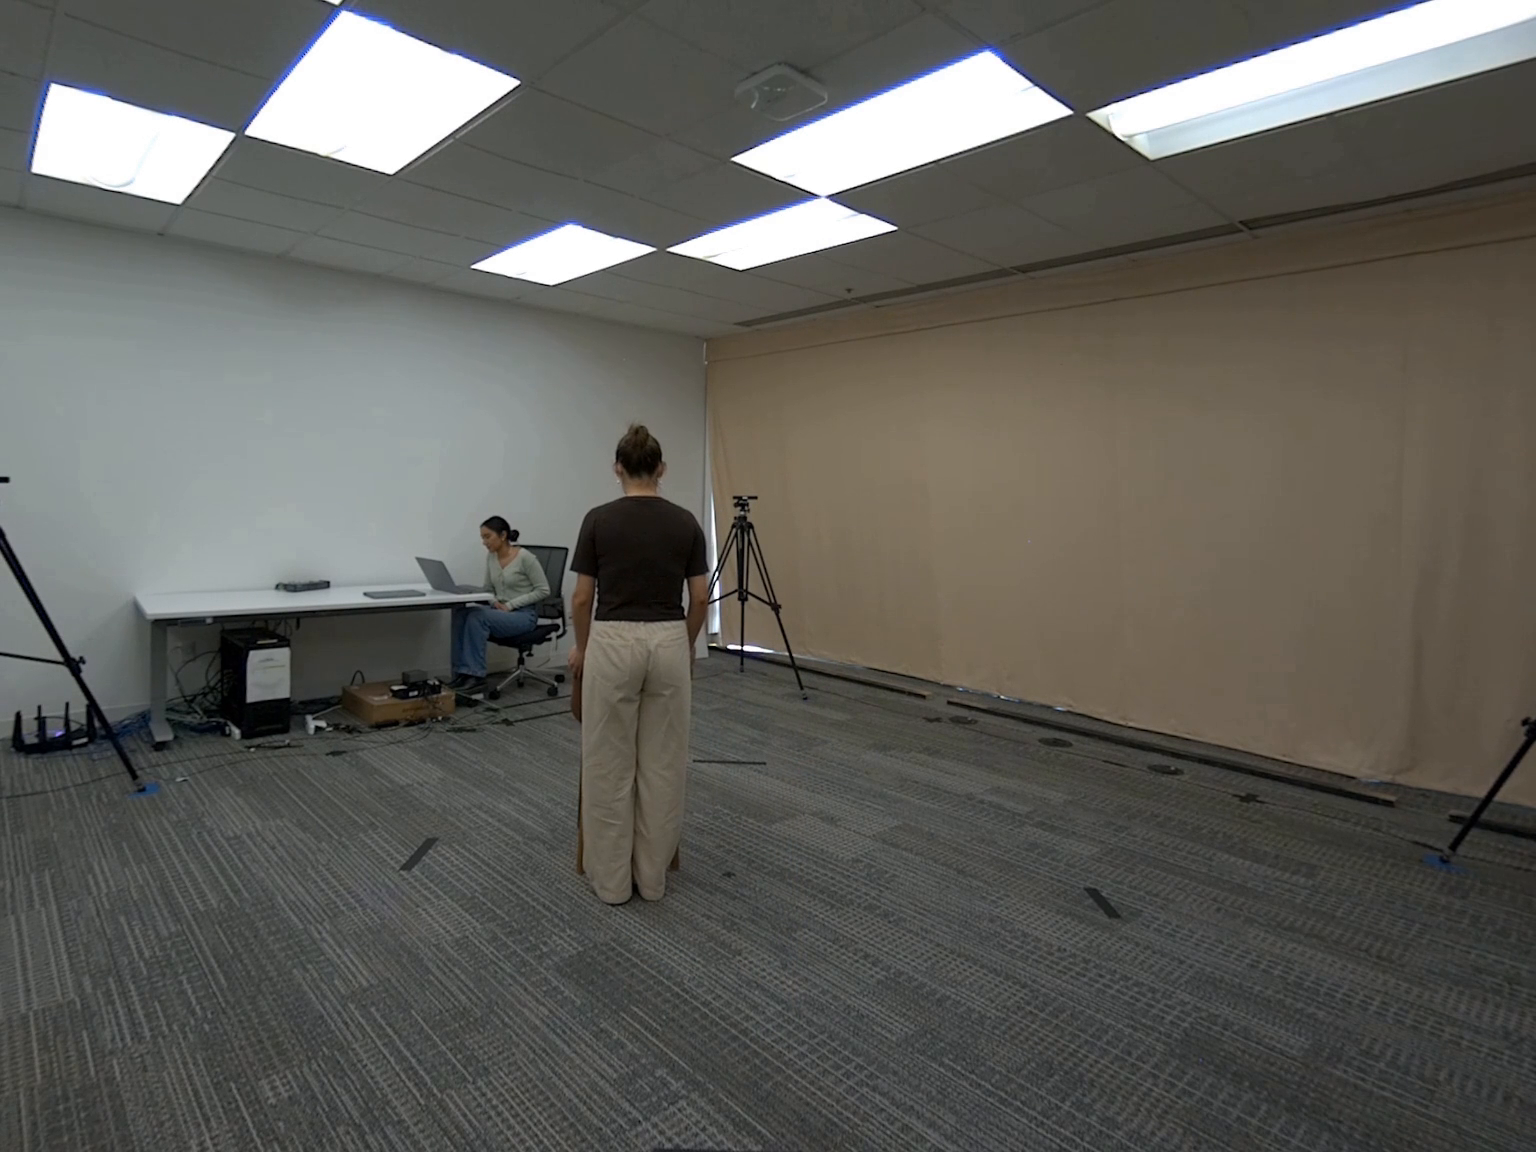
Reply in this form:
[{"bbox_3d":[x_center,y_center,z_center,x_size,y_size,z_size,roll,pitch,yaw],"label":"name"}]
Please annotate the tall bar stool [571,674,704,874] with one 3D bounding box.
[{"bbox_3d":[-0.547,0.643,3.298,0.453,0.886,0.473,1,5,-10],"label":"tall bar stool"}]
